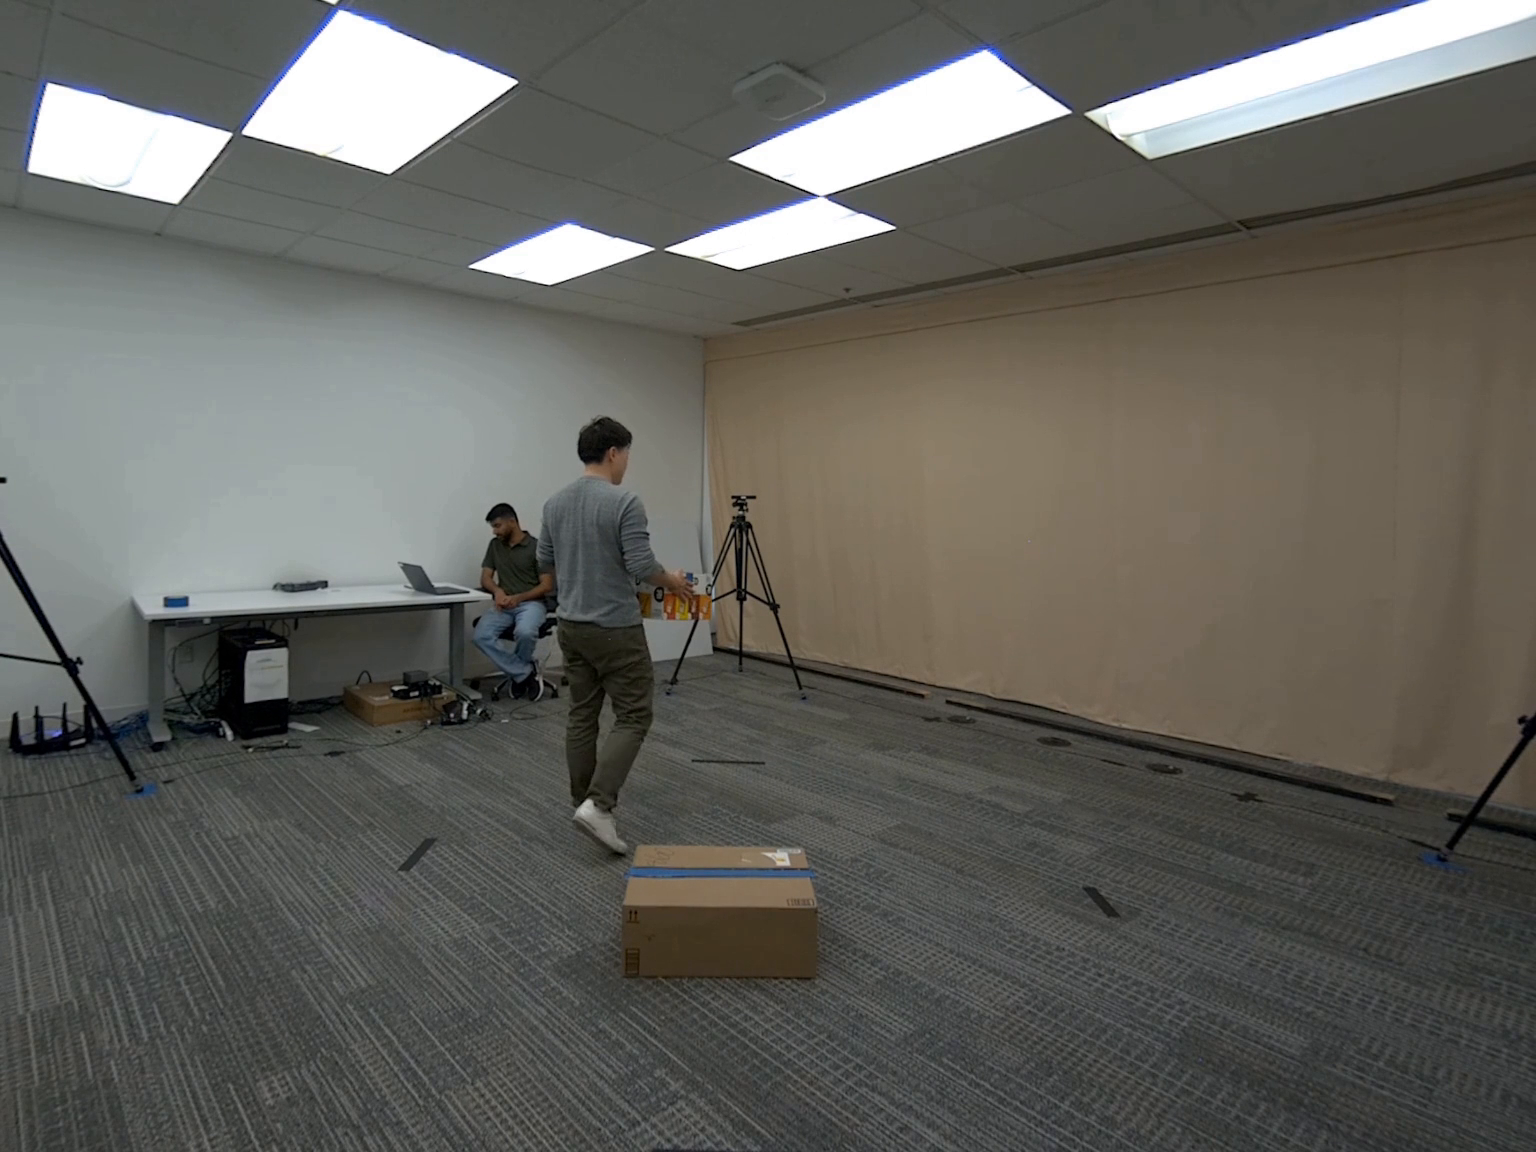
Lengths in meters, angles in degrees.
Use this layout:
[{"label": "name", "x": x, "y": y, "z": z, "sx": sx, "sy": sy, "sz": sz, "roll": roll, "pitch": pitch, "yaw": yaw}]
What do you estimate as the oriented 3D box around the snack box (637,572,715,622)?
[{"label": "snack box", "x": -0.508, "y": 0.083, "z": 3.725, "sx": 0.414, "sy": 0.206, "sz": 0.332, "roll": 2, "pitch": -2, "yaw": 34}]
